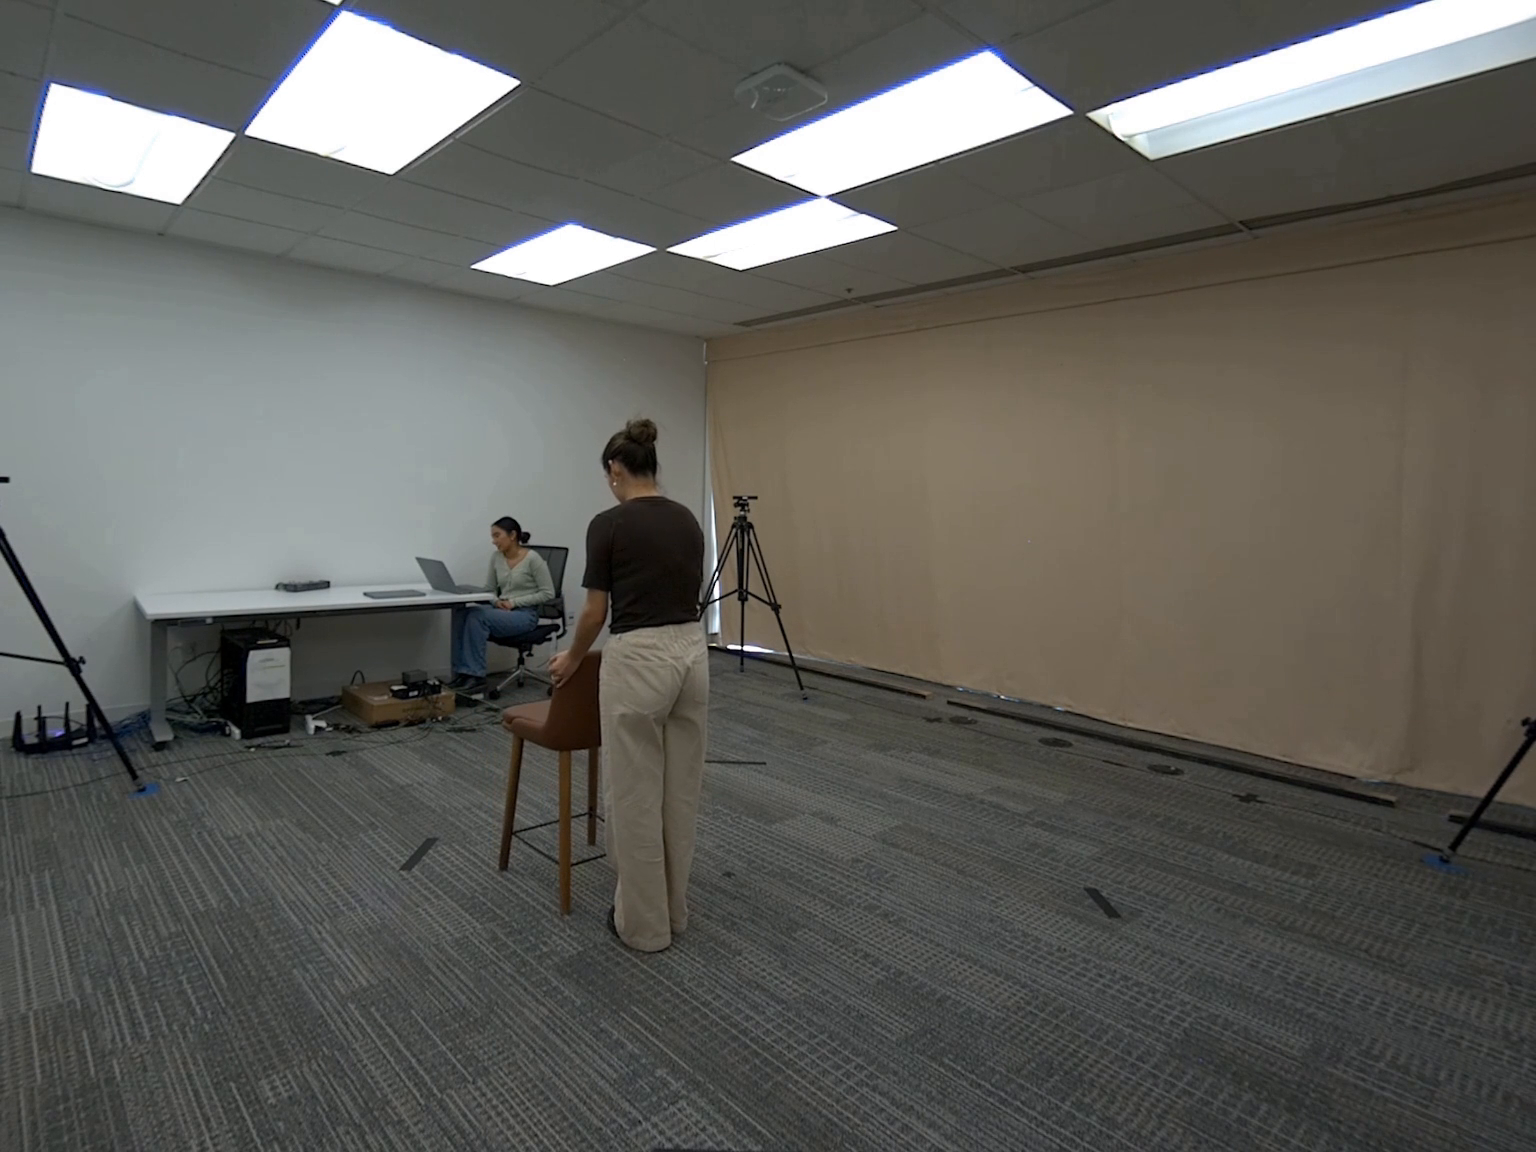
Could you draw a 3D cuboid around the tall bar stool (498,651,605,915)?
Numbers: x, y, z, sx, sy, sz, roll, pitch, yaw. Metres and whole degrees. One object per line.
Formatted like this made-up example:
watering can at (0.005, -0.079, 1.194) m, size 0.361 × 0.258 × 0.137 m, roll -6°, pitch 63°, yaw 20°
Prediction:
tall bar stool at (-0.682, 0.657, 3.031) m, size 0.446 × 0.886 × 0.480 m, roll -2°, pitch 7°, yaw -42°
